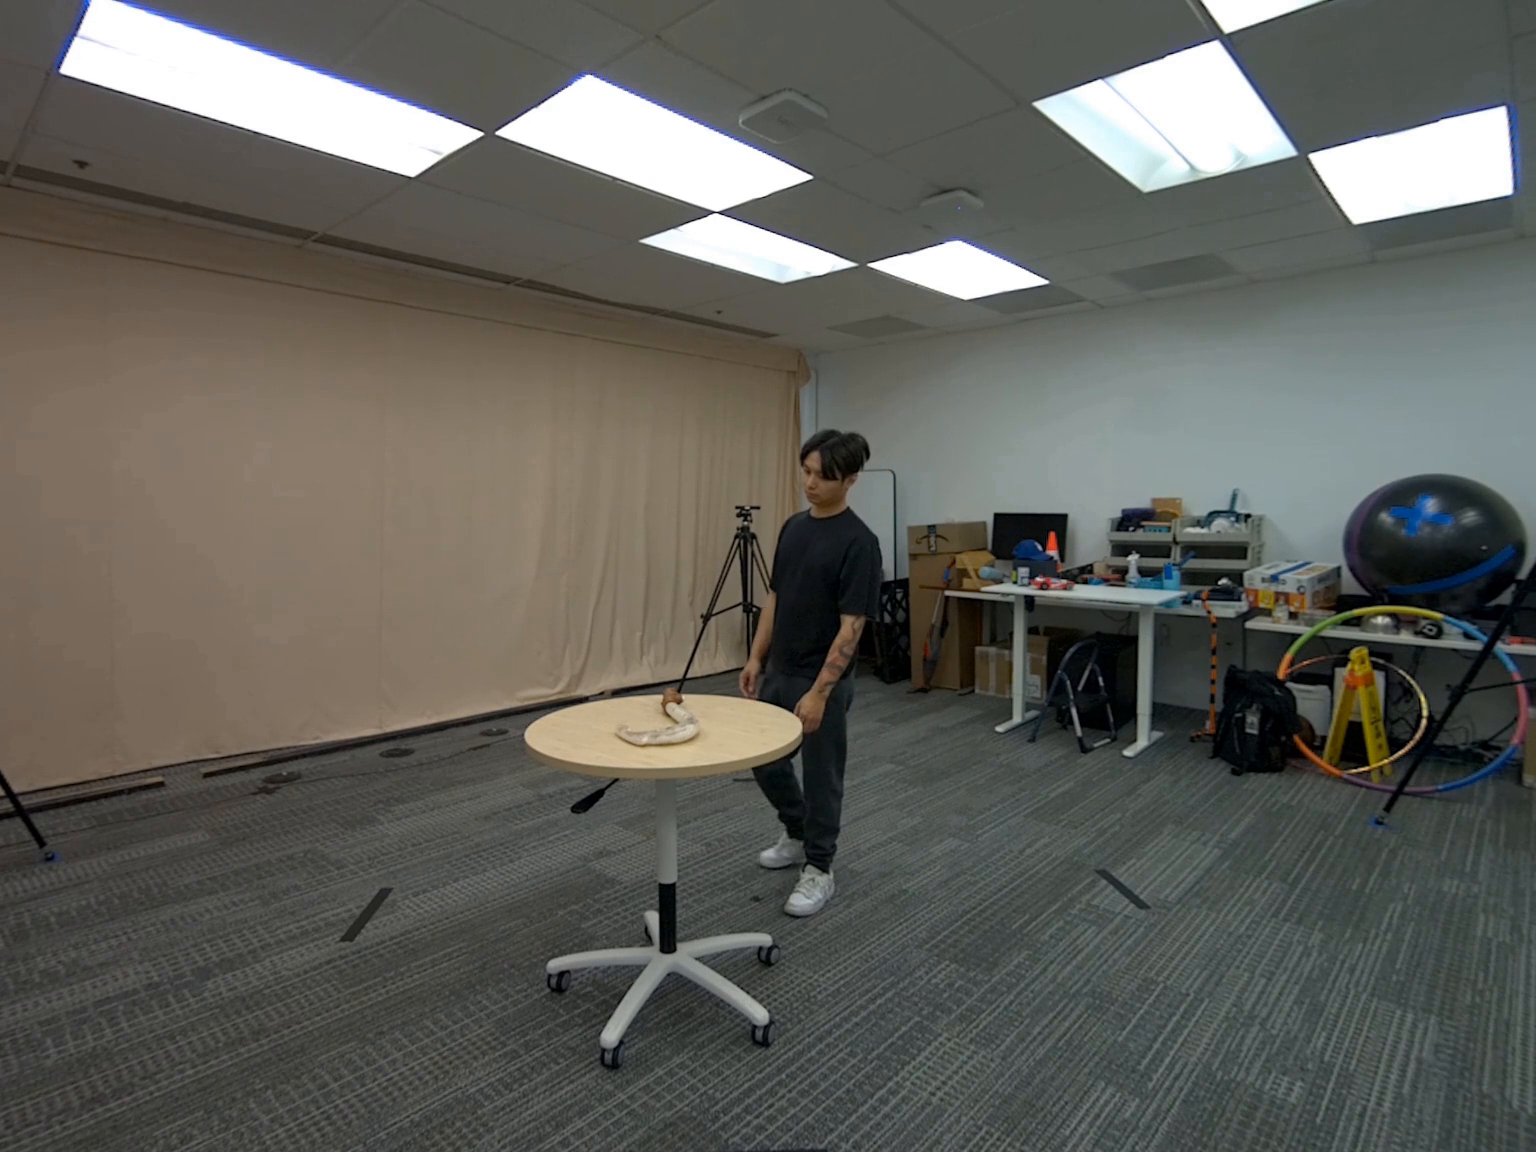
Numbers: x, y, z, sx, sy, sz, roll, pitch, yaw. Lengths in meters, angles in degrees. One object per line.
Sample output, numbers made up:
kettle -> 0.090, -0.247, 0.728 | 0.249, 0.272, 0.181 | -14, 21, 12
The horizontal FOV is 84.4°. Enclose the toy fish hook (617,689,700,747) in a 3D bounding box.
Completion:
toy fish hook -> -0.319, 0.389, 2.382 | 0.223, 0.048, 0.512 | 0, 5, -8
